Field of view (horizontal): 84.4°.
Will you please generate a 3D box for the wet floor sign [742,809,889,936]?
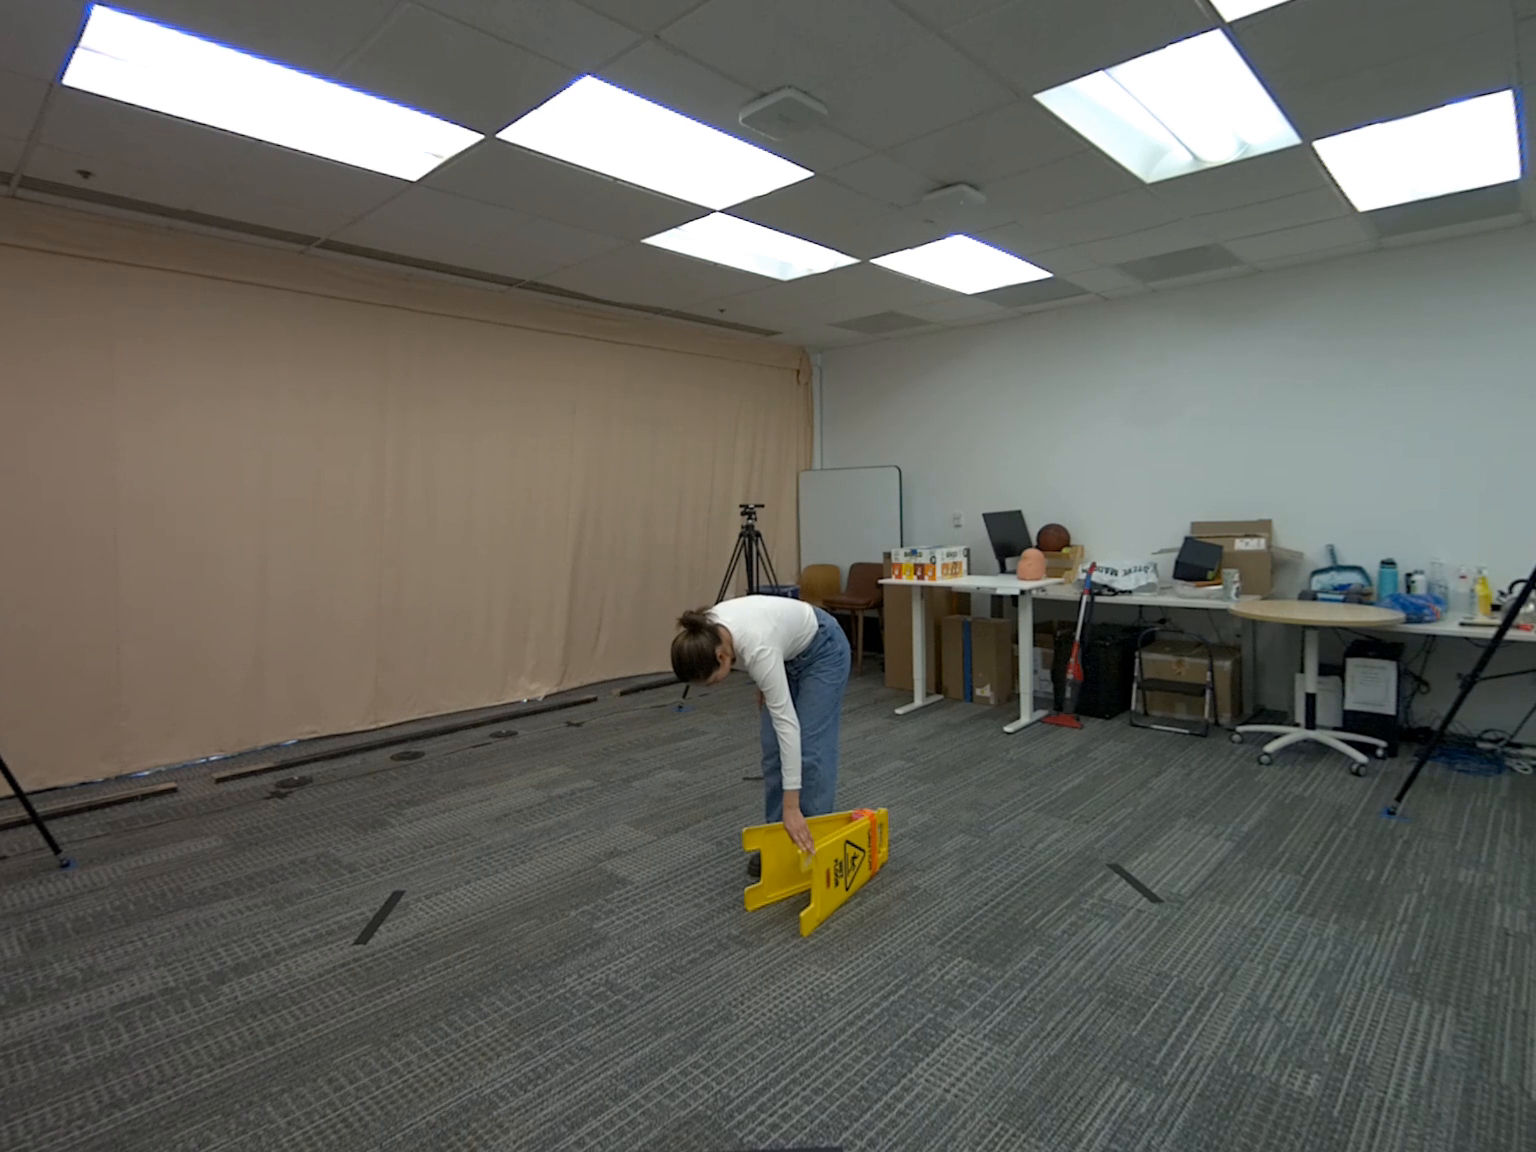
[{"bbox_3d":[0.235,1.002,3.016,0.626,0.282,0.299,-3,4,-44],"label":"wet floor sign"}]
